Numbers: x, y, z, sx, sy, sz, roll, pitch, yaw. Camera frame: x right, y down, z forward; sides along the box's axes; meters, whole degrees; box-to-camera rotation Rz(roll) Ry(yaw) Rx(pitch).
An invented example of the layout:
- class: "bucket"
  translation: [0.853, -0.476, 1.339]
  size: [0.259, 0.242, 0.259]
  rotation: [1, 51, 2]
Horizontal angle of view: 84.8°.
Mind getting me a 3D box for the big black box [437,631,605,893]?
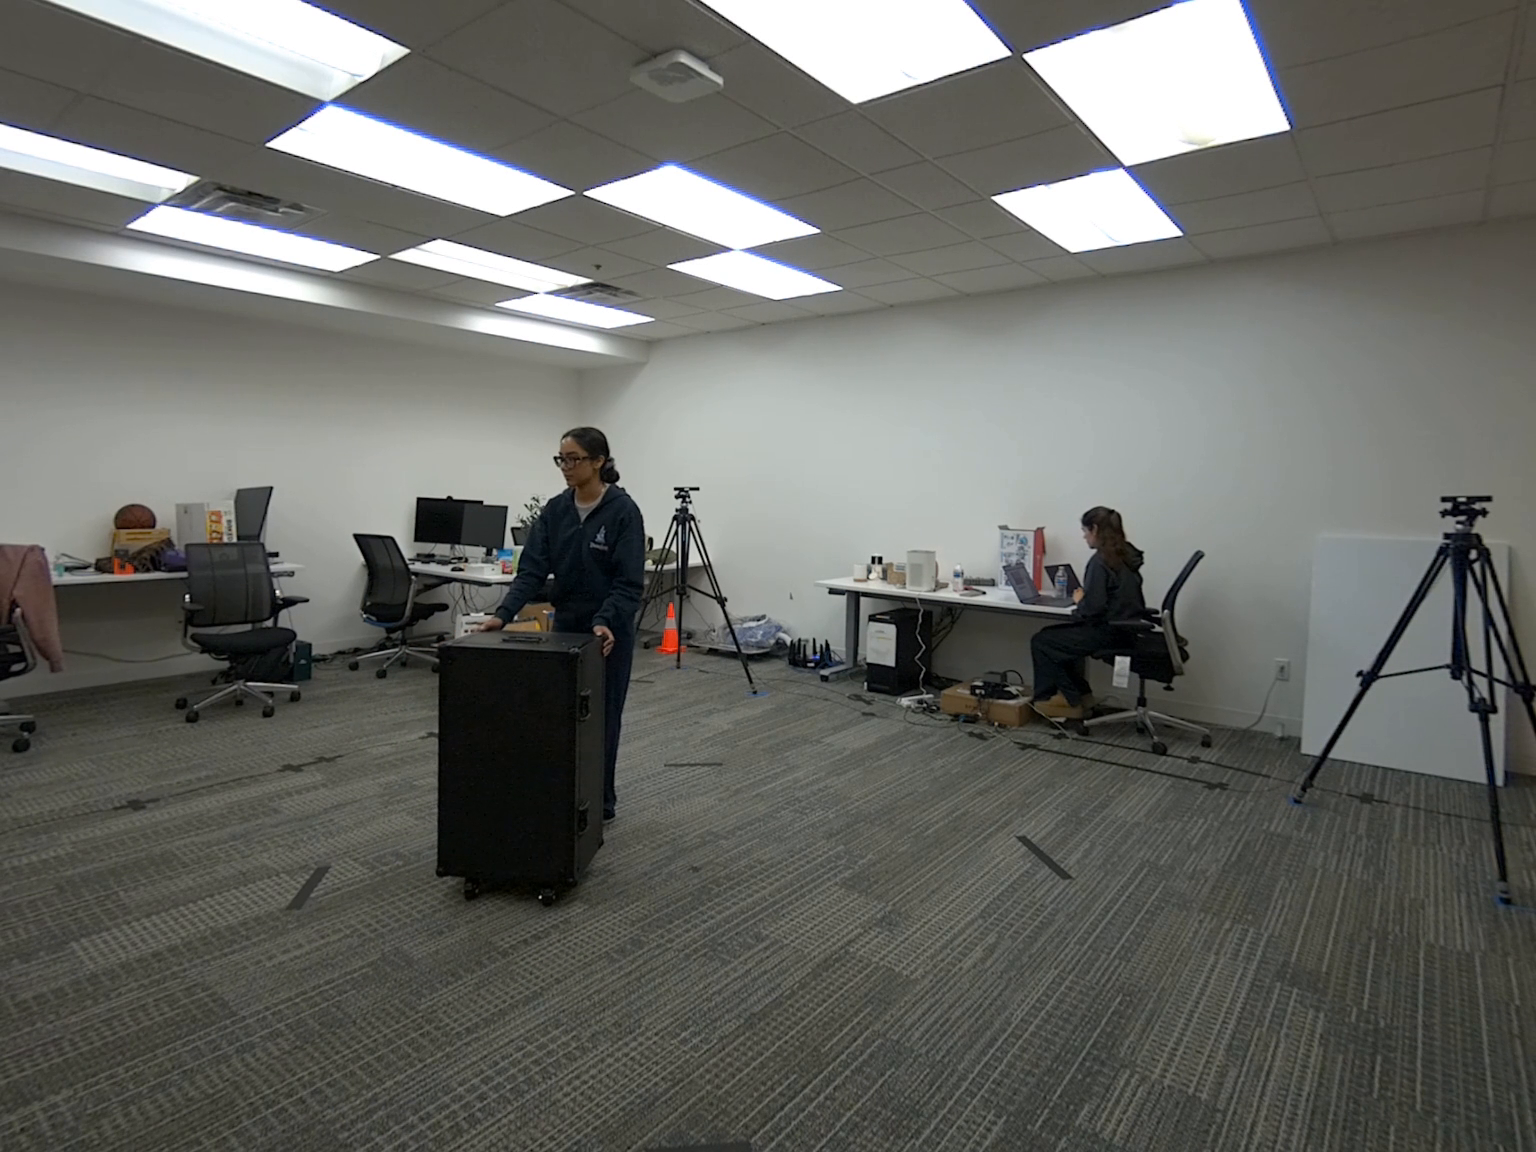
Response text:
- class: "big black box"
  translation: [-0.872, 0.643, 2.993]
  size: [0.526, 0.860, 0.393]
  rotation: [2, 2, 8]
